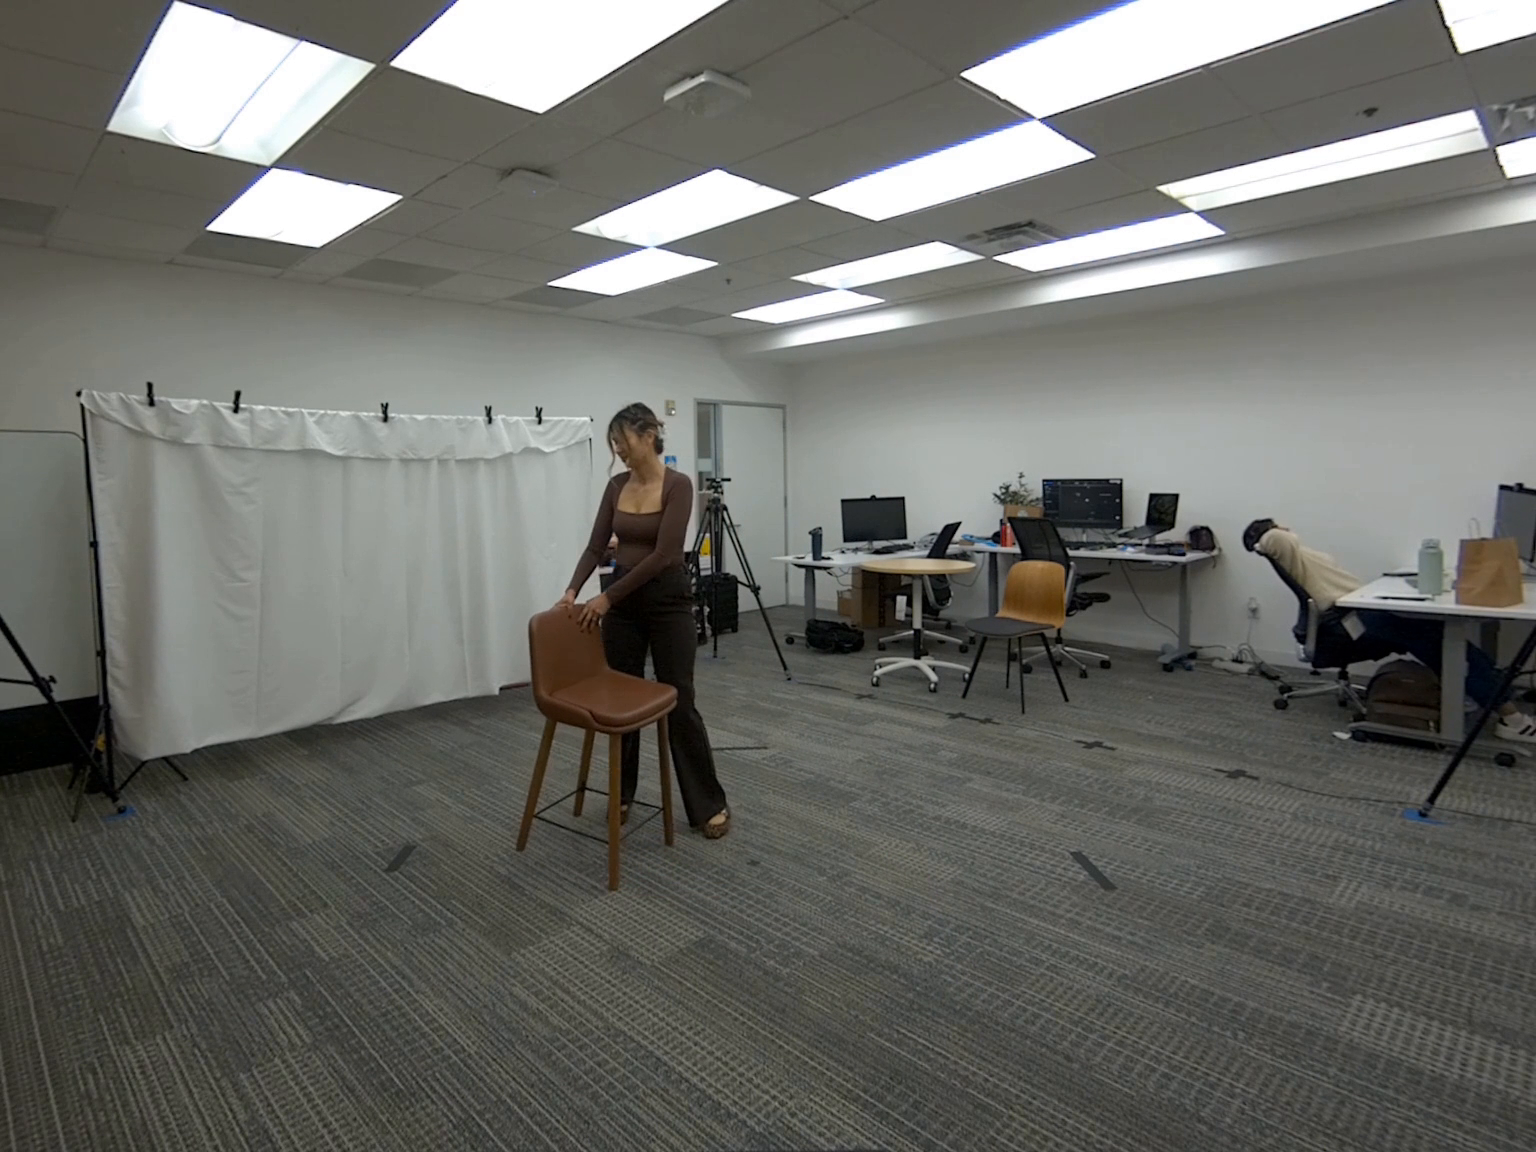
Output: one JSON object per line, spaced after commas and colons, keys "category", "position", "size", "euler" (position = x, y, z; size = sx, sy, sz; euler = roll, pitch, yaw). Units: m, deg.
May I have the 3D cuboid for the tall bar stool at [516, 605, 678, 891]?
{"category": "tall bar stool", "position": [-0.615, 0.593, 3.138], "size": [0.479, 0.885, 0.447], "euler": [7, 7, 25]}
